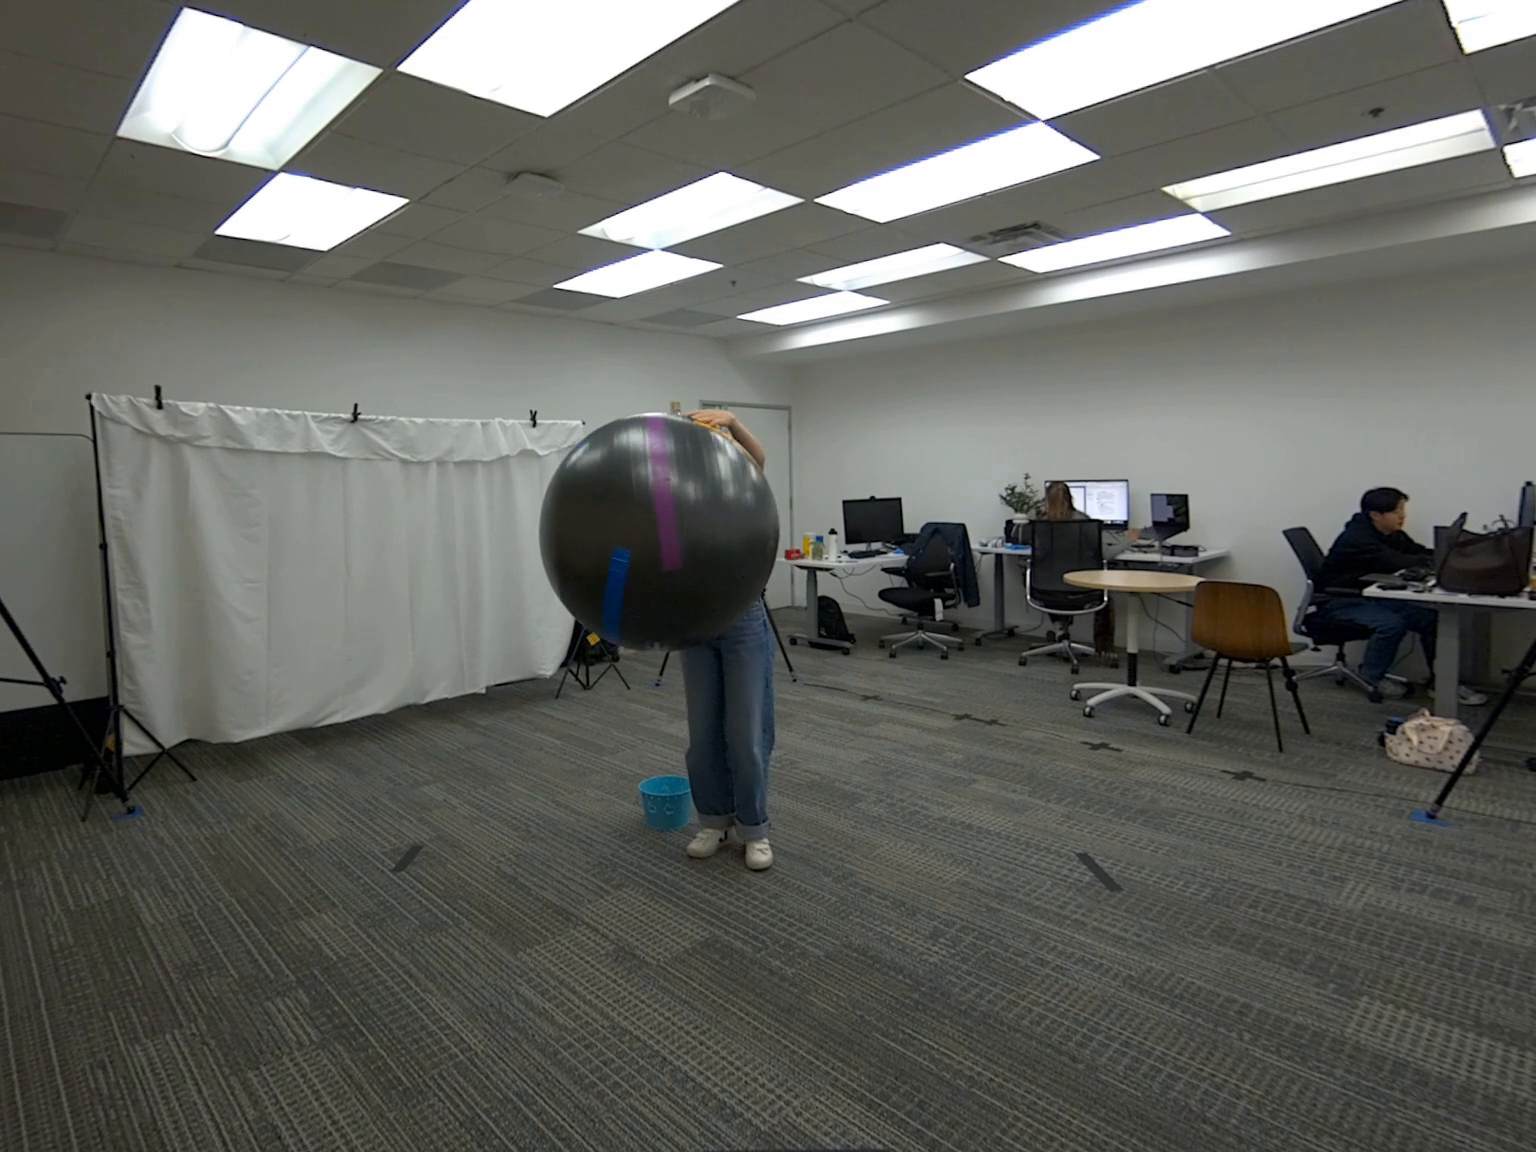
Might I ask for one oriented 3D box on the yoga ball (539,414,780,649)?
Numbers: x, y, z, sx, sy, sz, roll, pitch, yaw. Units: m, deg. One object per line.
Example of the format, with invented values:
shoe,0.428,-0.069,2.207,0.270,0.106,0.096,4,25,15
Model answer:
yoga ball,-0.340,-0.135,2.719,0.757,0.755,0.762,-1,5,-2
